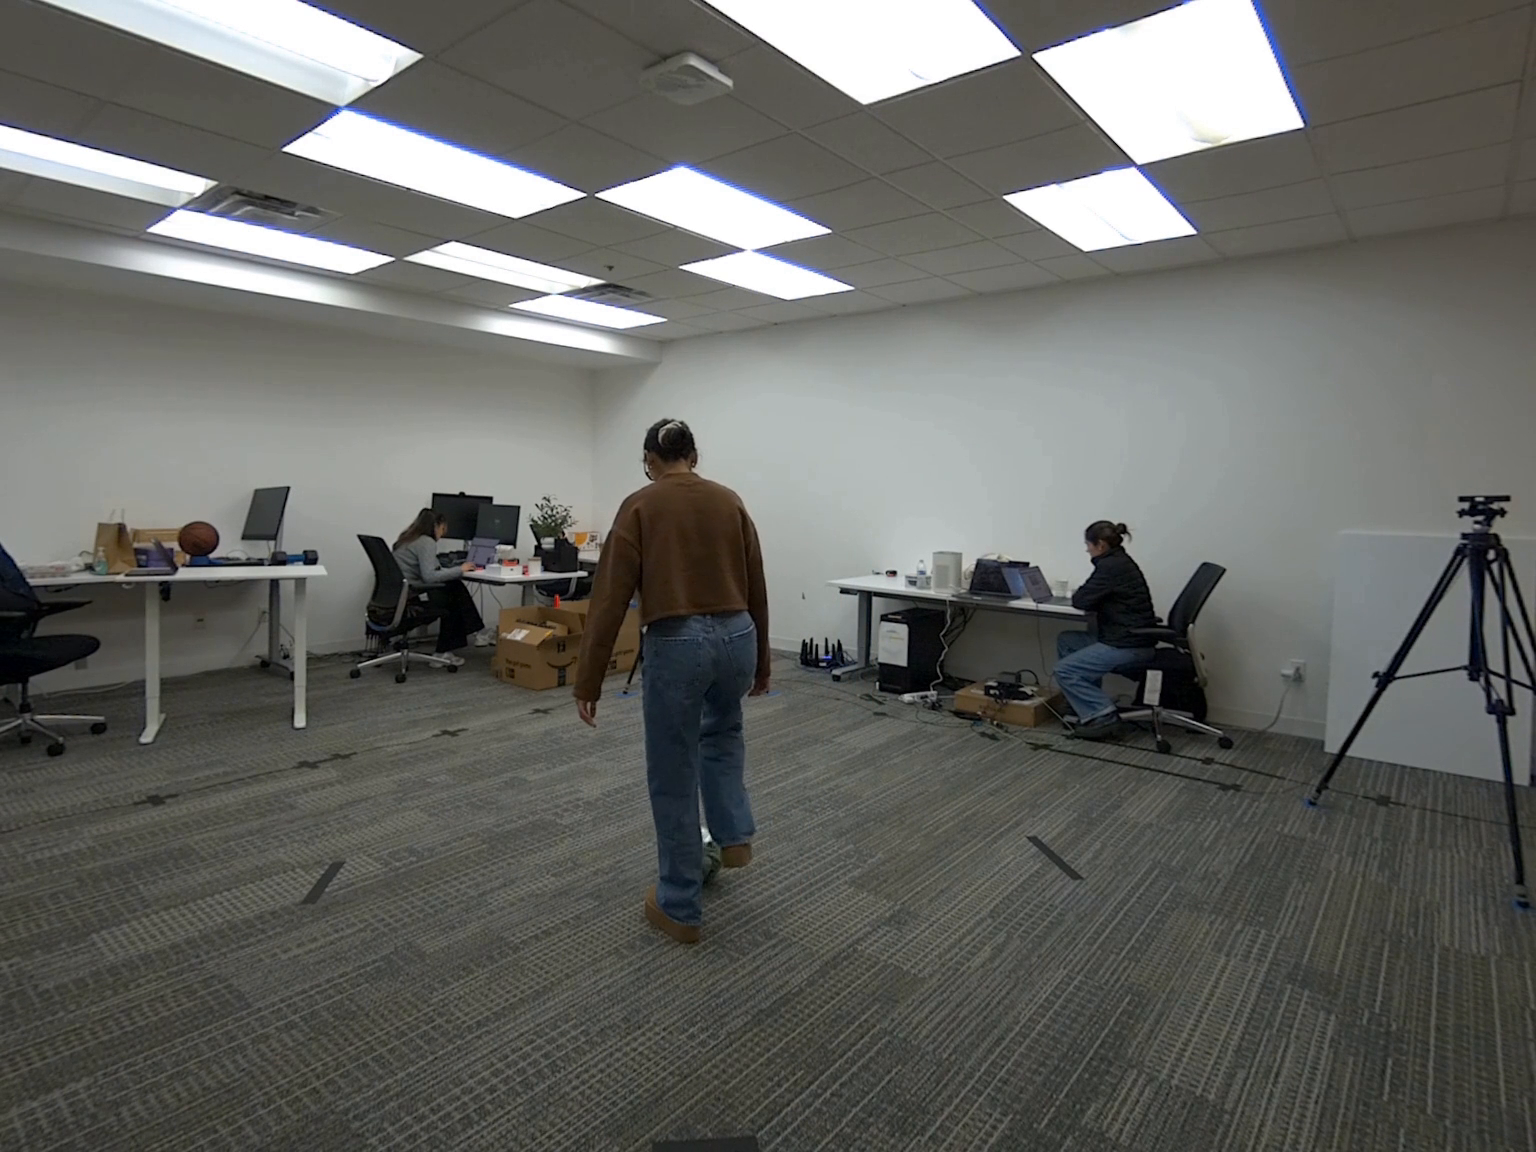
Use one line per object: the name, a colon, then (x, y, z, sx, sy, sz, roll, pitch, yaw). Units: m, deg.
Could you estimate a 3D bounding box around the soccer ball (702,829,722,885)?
soccer ball: (-0.252, 0.973, 3.007, 0.187, 0.187, 0.188, 1, 4, -2)
